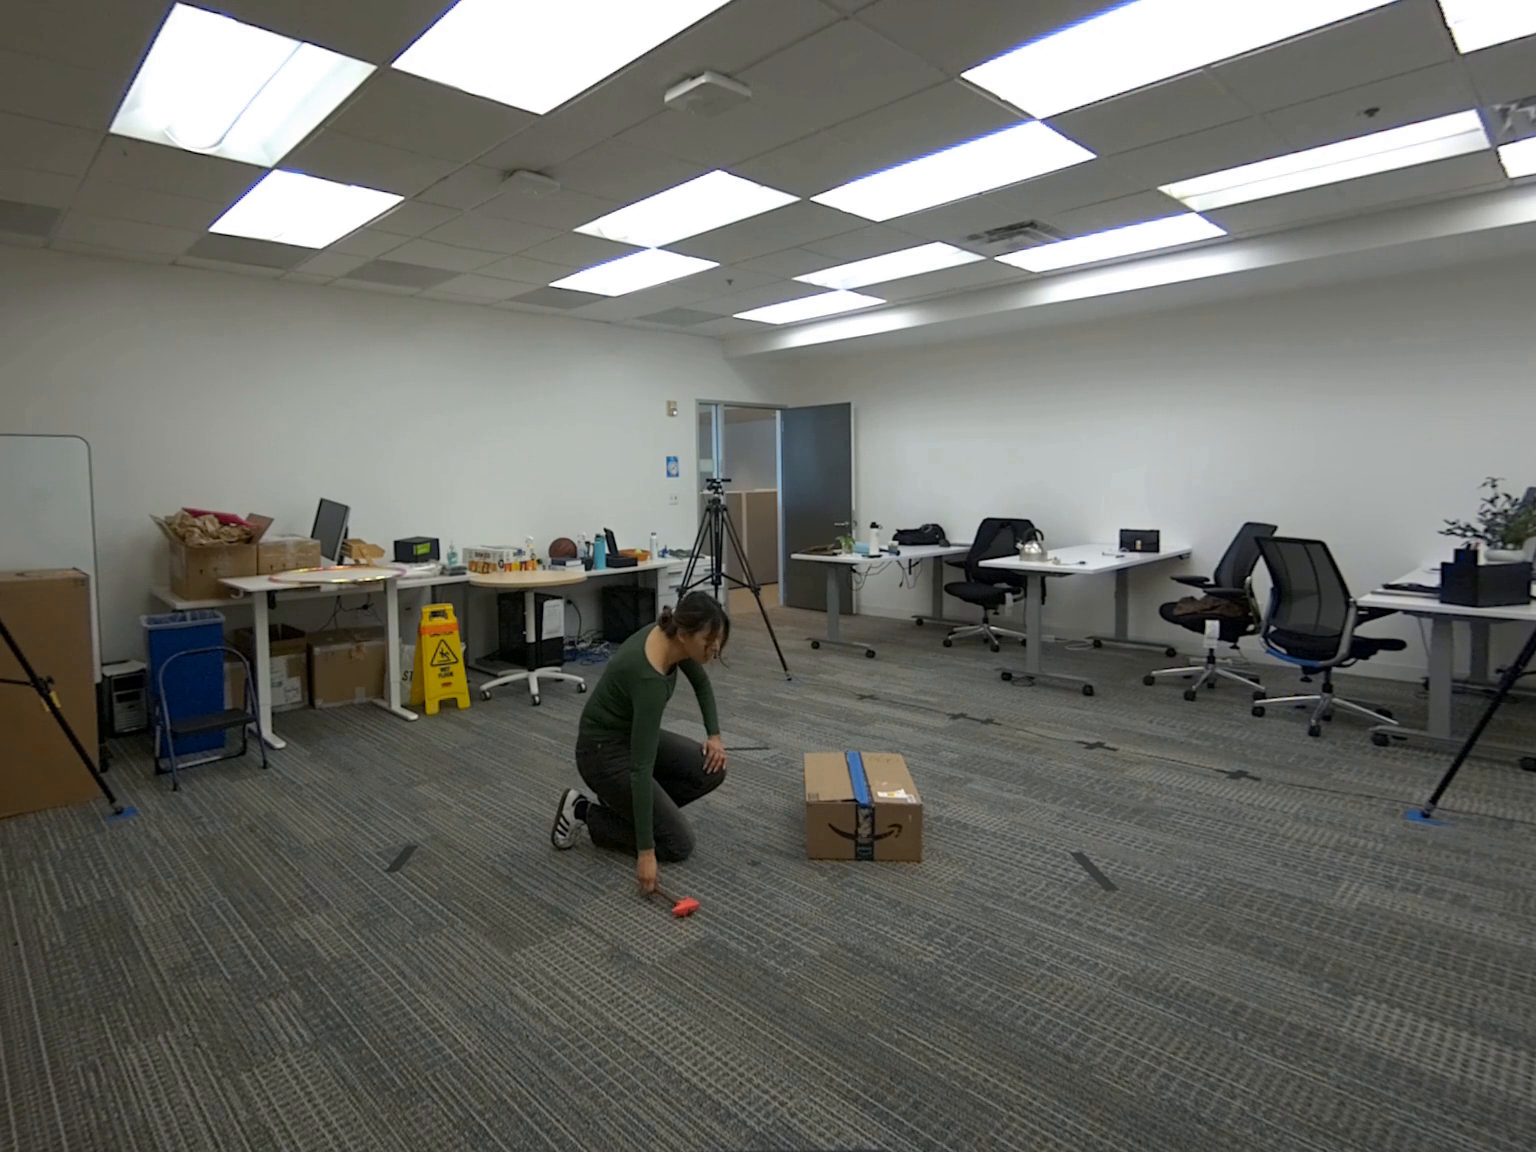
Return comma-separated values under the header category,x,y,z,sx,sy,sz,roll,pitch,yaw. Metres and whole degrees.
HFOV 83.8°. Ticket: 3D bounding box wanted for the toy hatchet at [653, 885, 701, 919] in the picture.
category,x,y,z,sx,sy,sz,roll,pitch,yaw
toy hatchet,-0.320,1.057,2.836,0.127,0.029,0.278,10,2,-30
